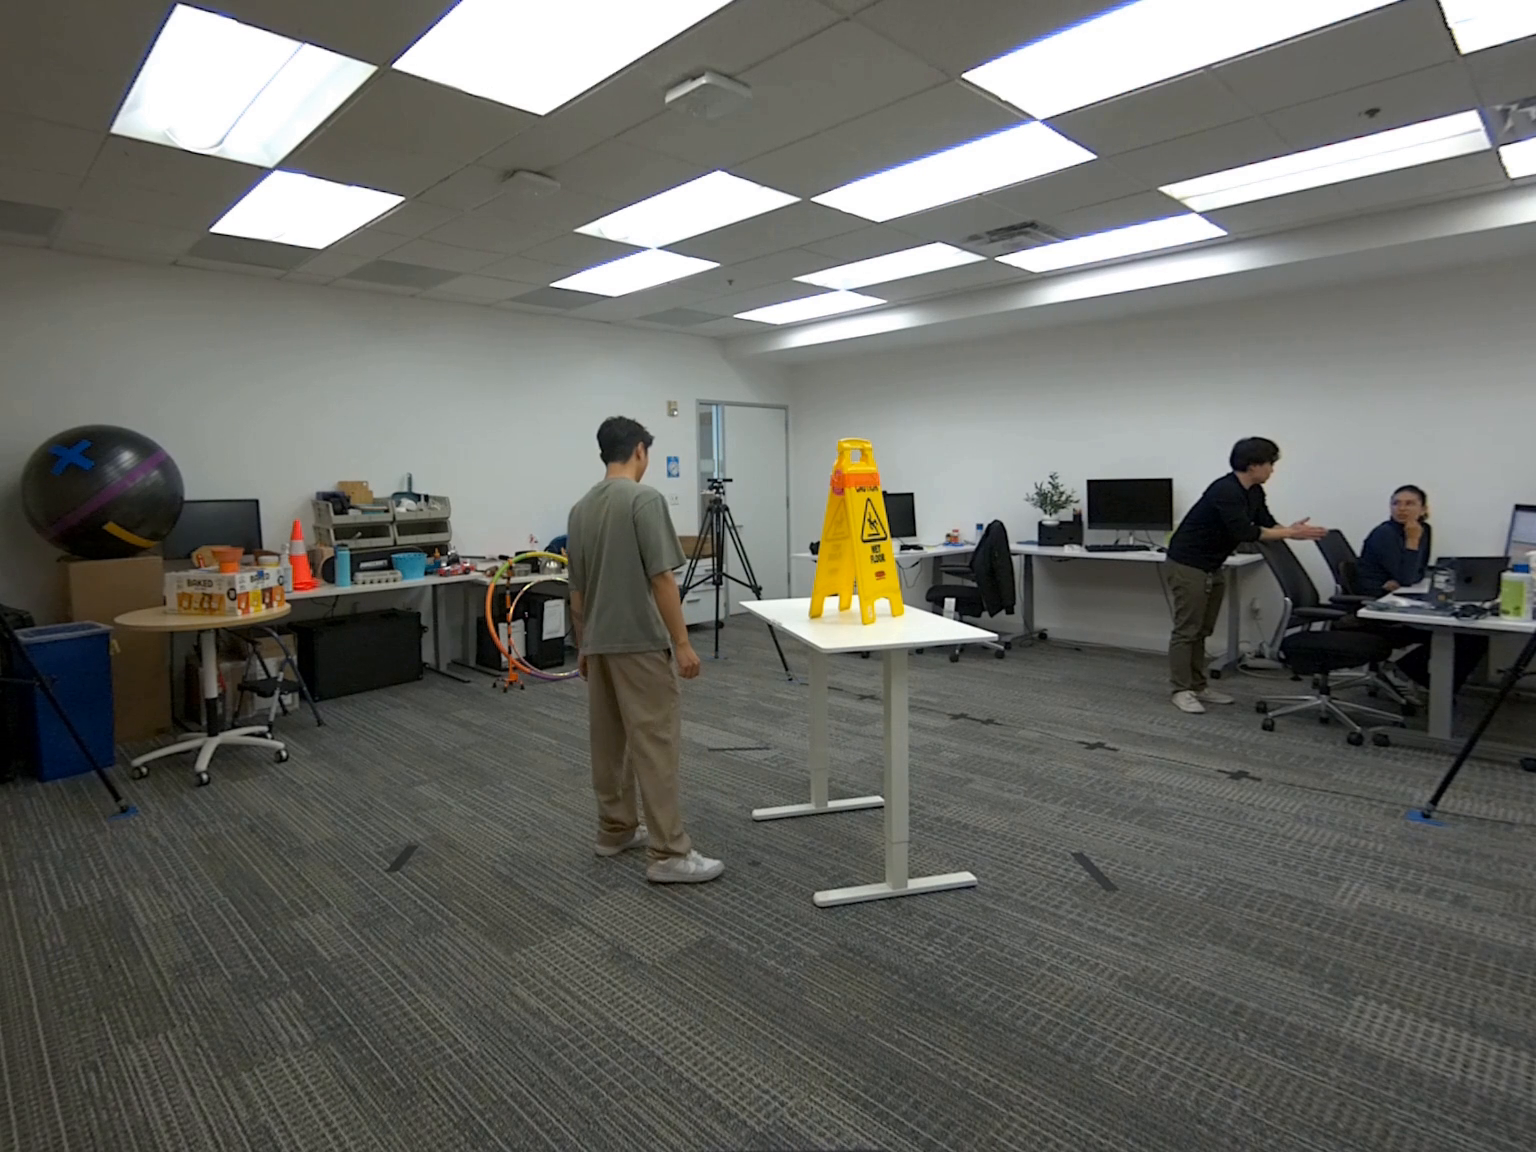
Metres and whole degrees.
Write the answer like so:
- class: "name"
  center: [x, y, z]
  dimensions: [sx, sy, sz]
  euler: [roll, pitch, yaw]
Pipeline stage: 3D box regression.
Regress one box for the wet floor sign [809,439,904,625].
- class: "wet floor sign"
  center: [0.323, -0.173, 3.131]
  dimensions: [0.298, 0.643, 0.275]
  euler: [4, 7, 39]
